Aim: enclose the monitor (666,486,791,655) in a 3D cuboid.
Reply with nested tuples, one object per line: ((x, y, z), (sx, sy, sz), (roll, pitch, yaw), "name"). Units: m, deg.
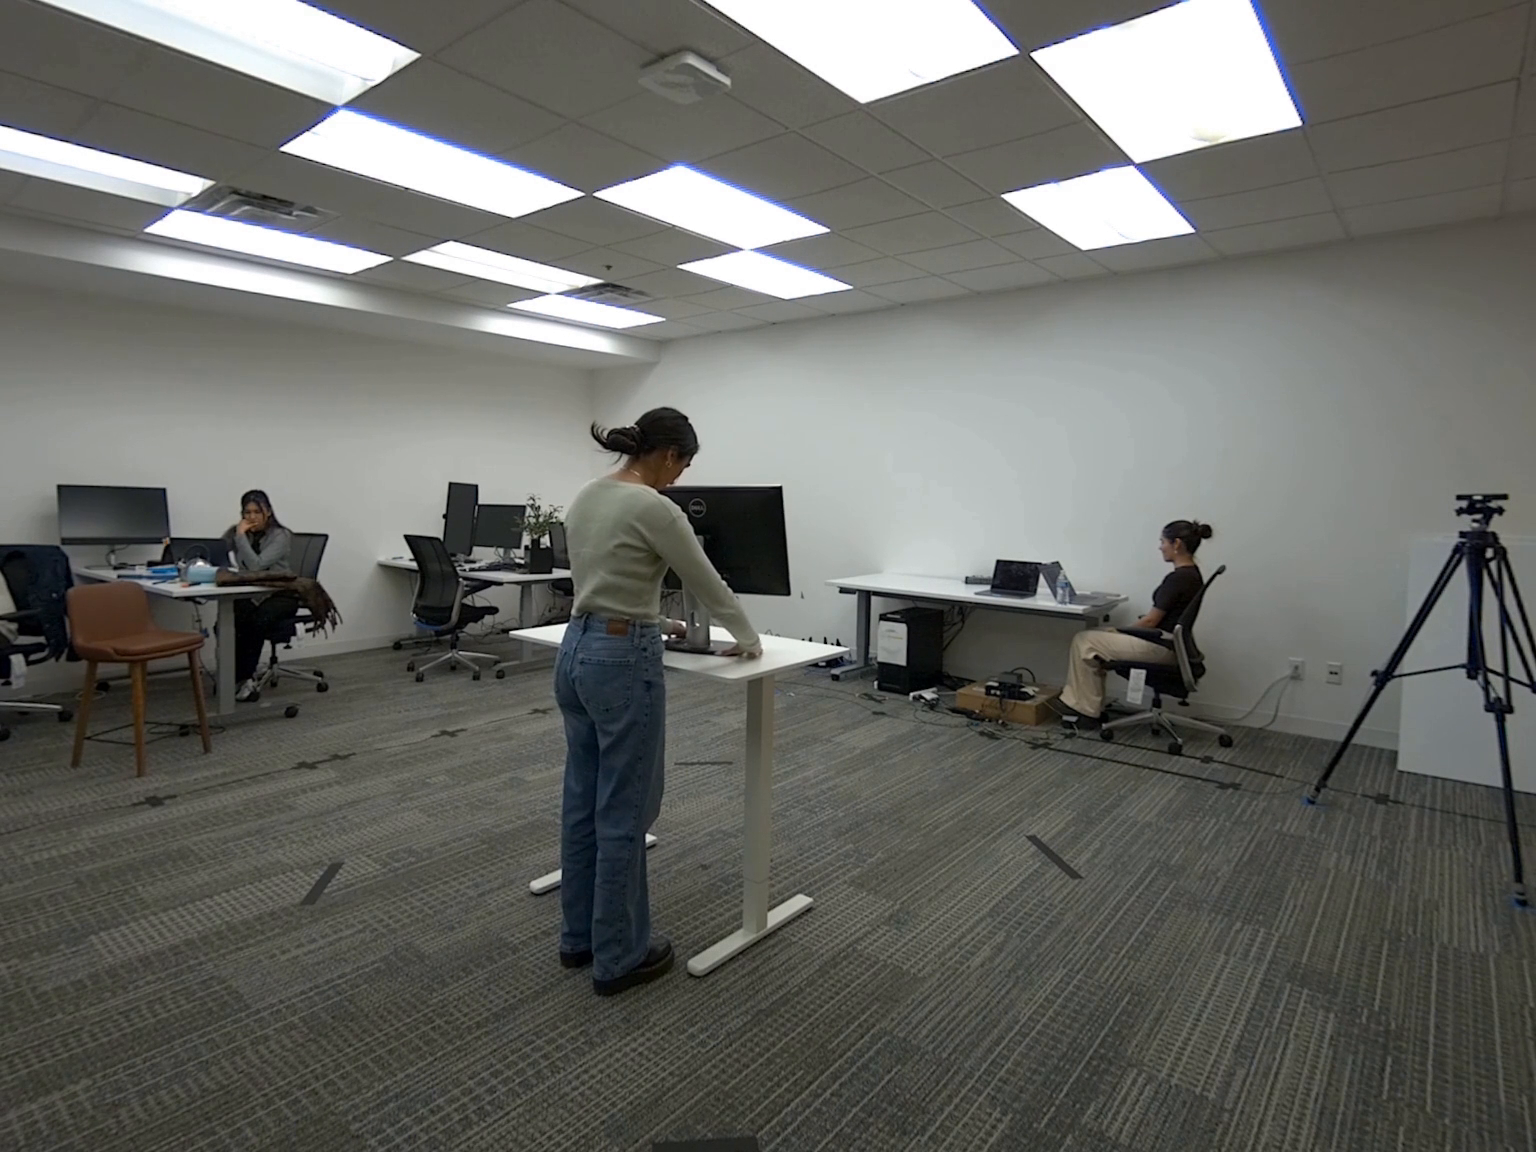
((-0.213, -0.029, 2.668), (0.541, 0.516, 0.171), (1, 1, 20), "monitor")
